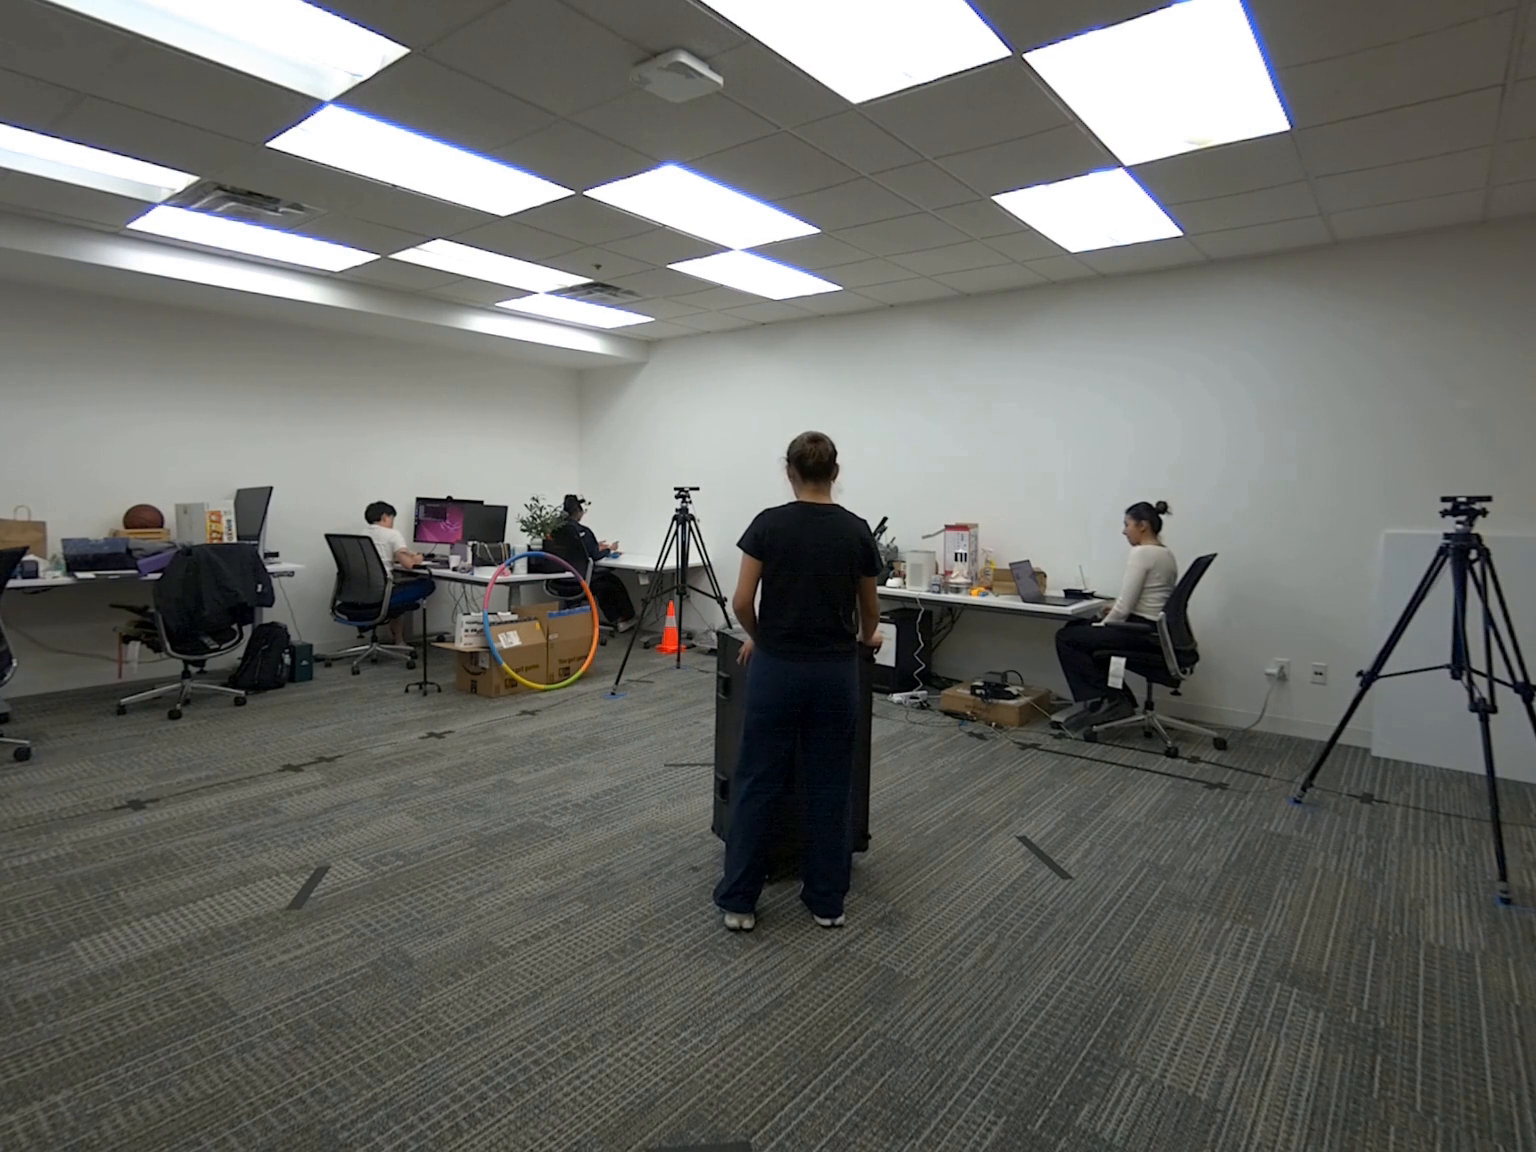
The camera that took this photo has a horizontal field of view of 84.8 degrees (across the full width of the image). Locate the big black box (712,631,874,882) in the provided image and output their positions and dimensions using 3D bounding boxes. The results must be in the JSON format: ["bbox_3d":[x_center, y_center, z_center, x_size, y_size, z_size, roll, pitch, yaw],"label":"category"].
[{"bbox_3d":[0.116,0.634,3.183,0.510,0.858,0.406,0,5,-22],"label":"big black box"}]
